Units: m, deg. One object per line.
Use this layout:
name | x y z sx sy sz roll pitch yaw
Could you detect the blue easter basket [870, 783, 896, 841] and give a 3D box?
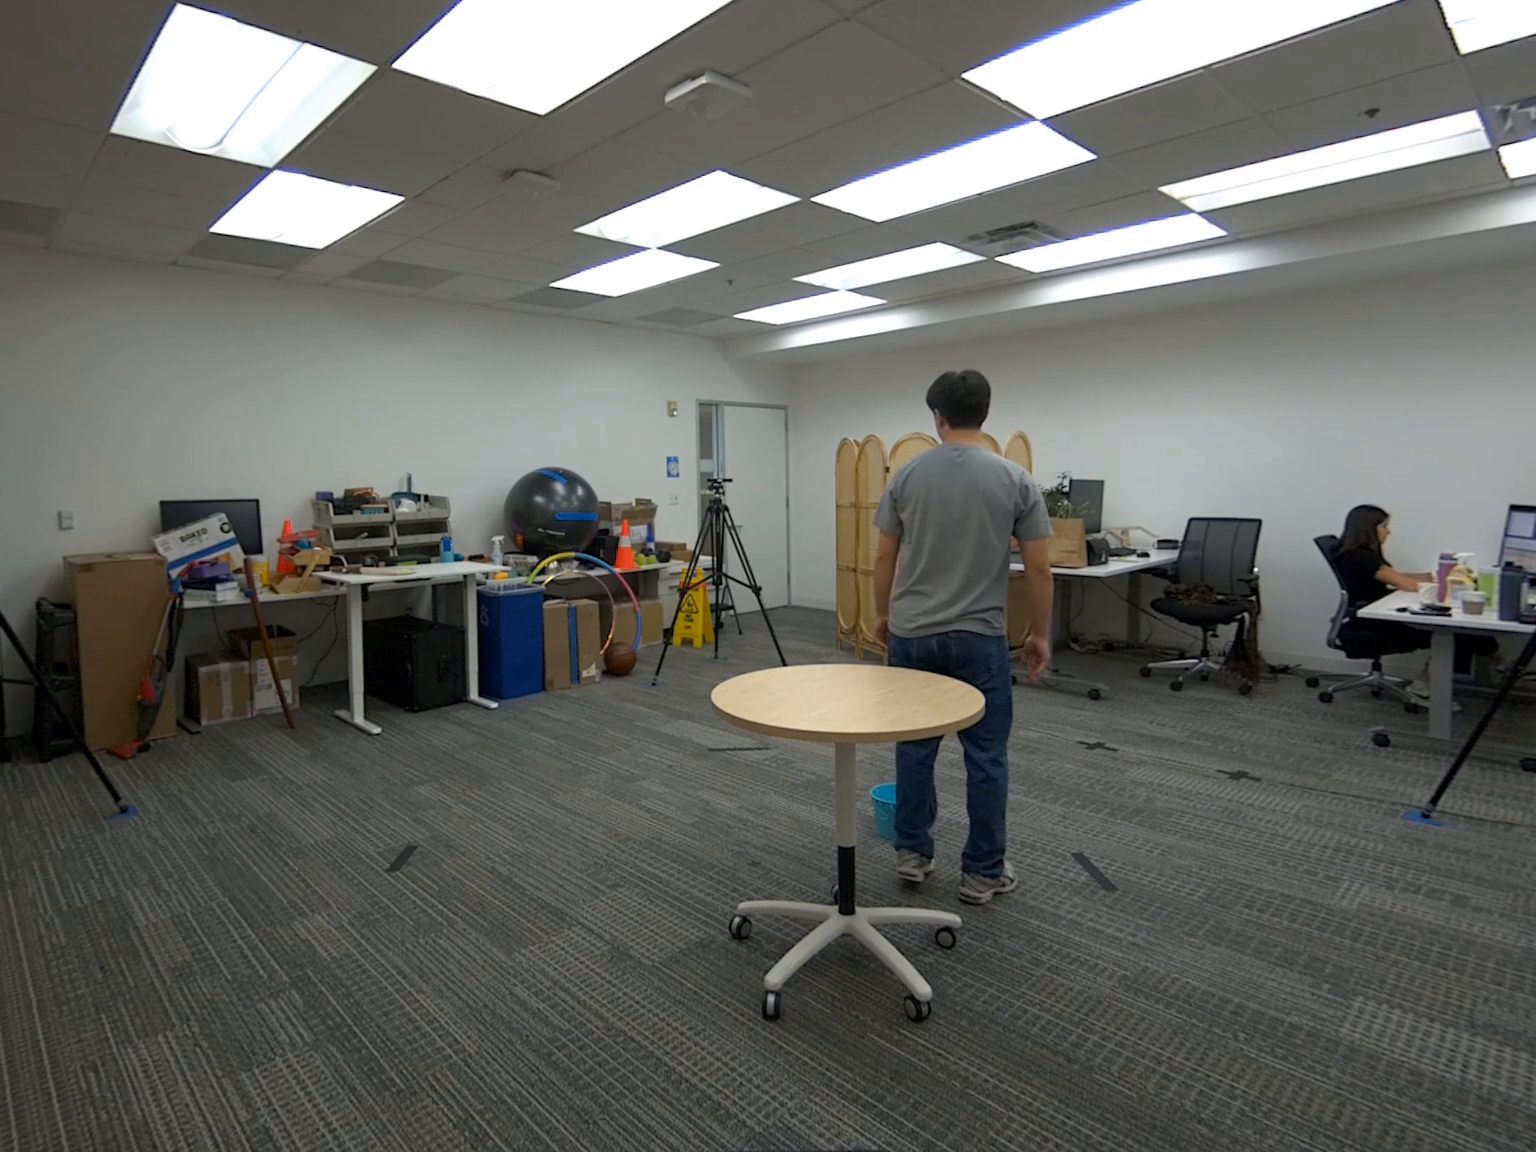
blue easter basket | 0.531 0.931 3.356 0.243 0.155 0.244 -2 4 -2
